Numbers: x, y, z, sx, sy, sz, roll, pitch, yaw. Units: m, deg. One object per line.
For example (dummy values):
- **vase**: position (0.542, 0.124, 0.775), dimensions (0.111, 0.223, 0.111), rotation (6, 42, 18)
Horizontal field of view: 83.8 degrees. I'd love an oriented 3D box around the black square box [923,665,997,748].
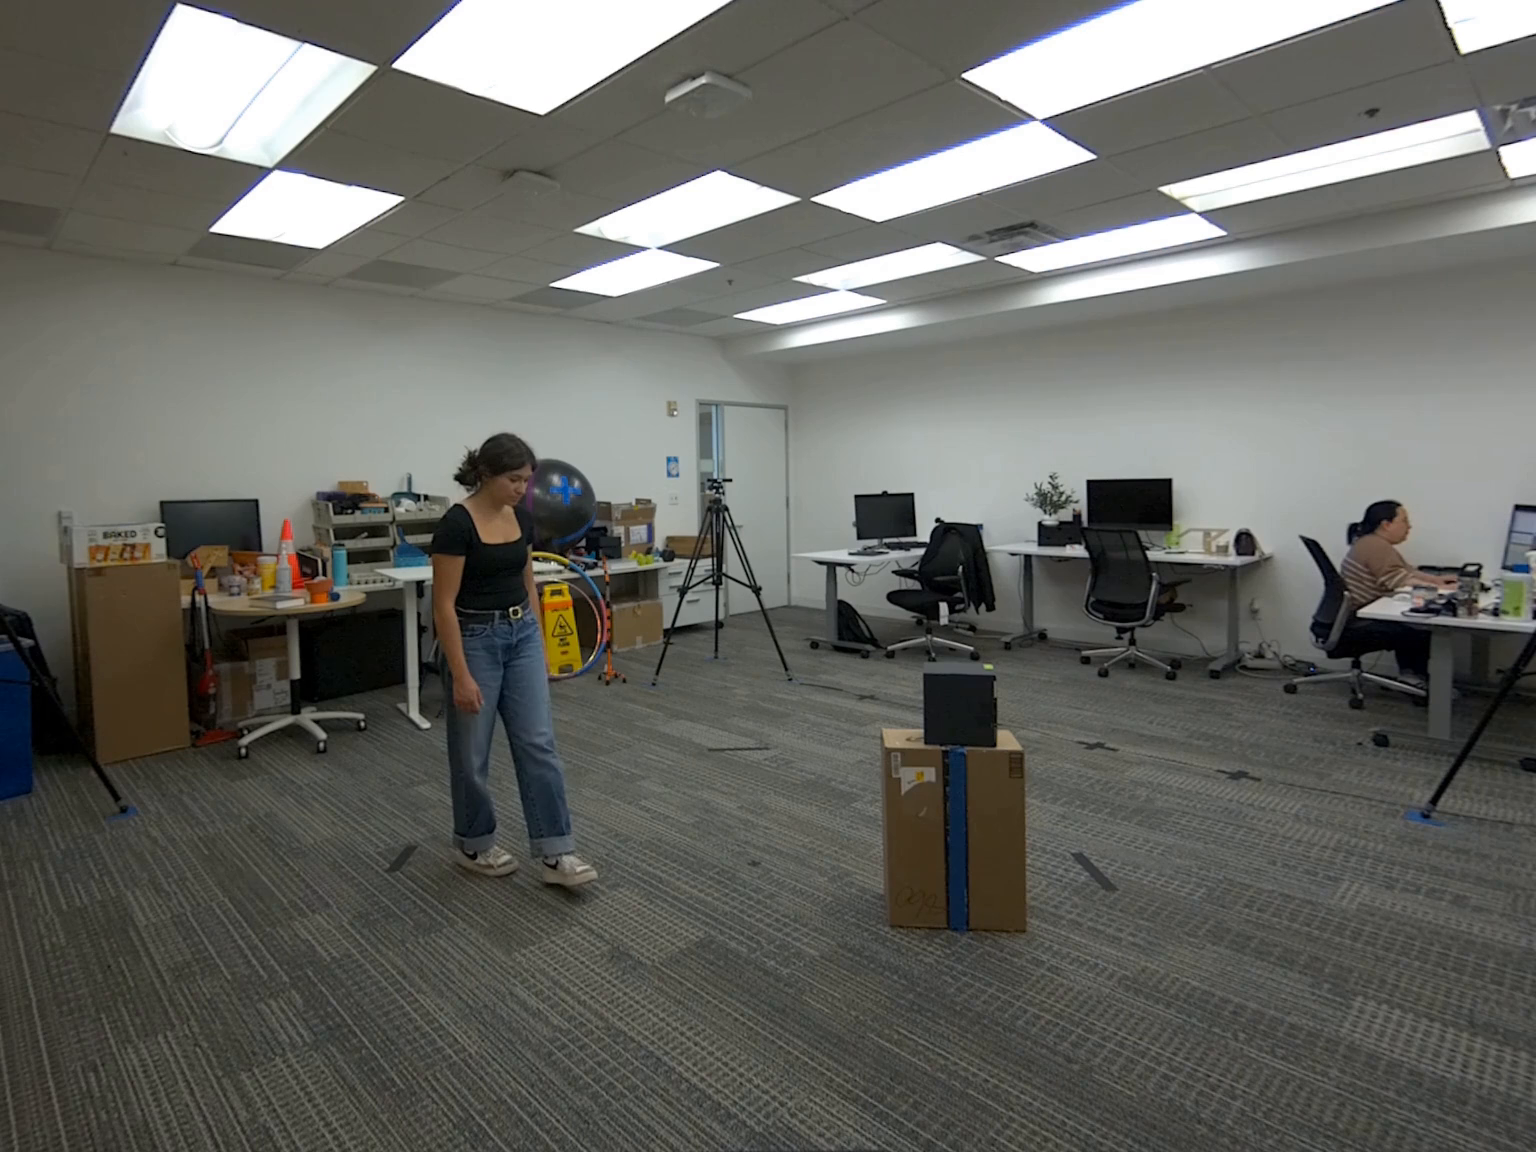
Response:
- **black square box**: position (0.602, 0.394, 2.689), dimensions (0.220, 0.227, 0.155), rotation (1, 5, 12)
